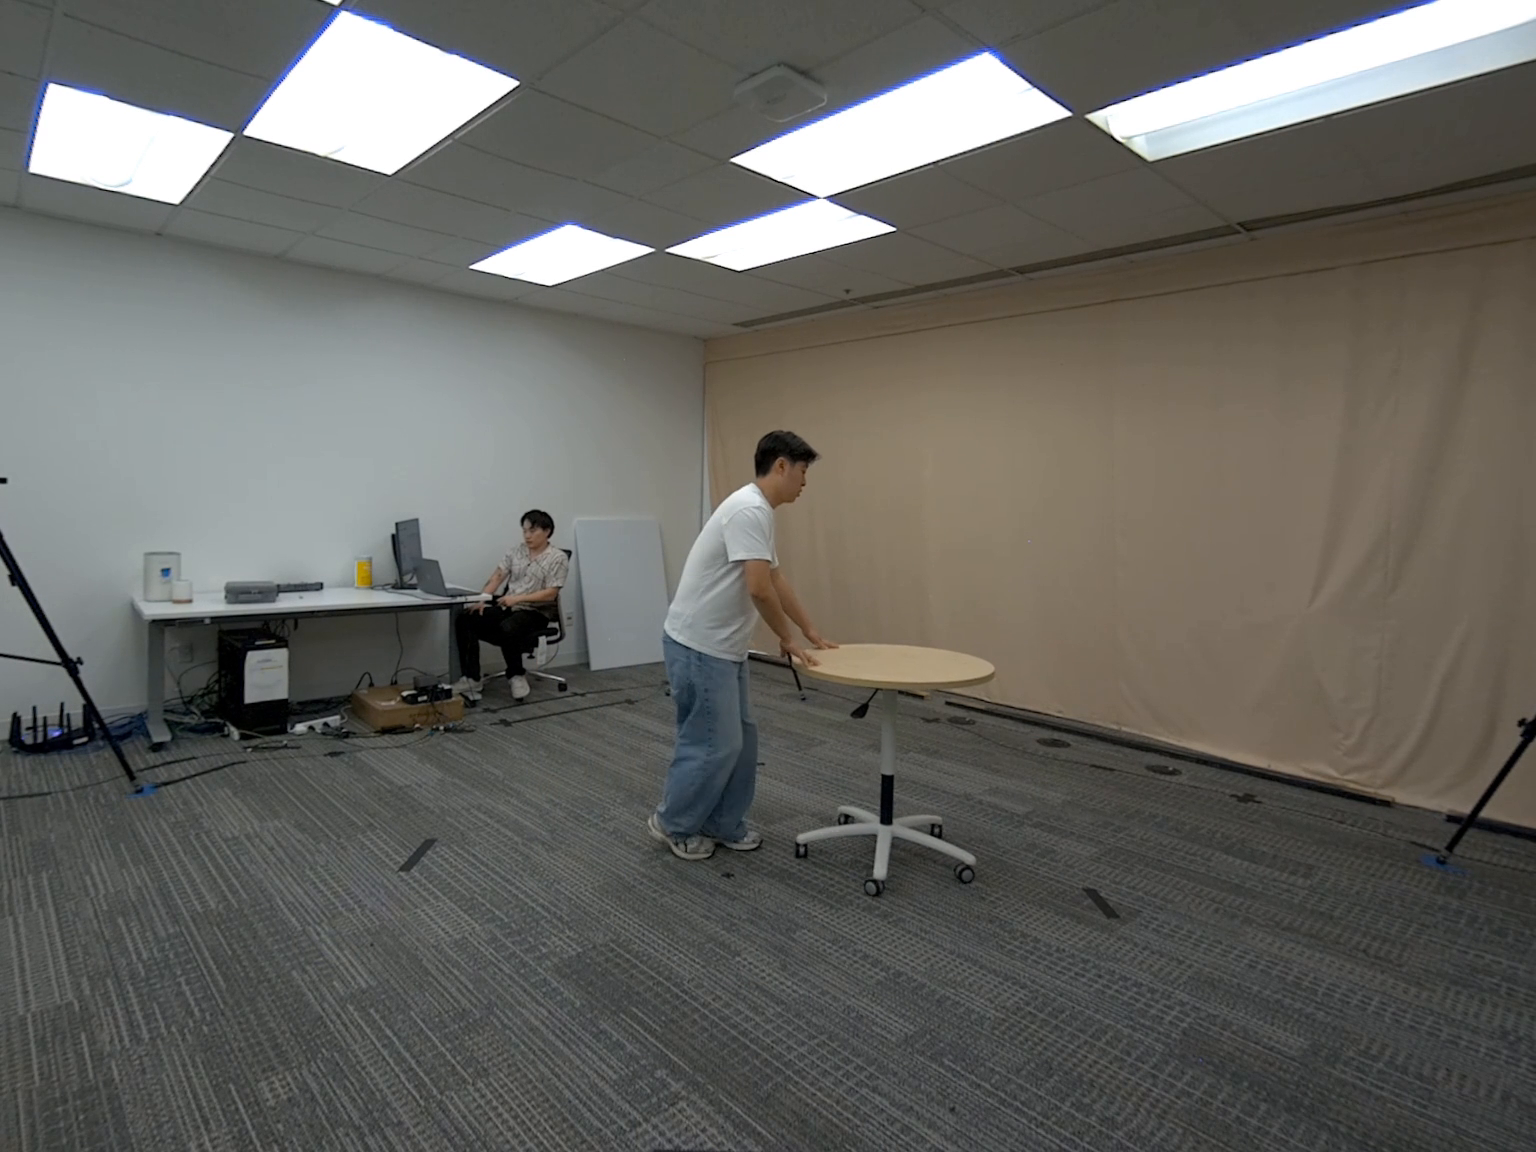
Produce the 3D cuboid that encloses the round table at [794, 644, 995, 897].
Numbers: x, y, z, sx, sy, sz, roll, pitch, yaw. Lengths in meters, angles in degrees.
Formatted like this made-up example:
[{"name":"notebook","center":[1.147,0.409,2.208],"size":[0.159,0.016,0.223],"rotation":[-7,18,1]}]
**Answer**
[{"name":"round table","center":[0.453,0.719,3.273],"size":[0.763,0.792,0.766],"rotation":[1,4,-1]}]
